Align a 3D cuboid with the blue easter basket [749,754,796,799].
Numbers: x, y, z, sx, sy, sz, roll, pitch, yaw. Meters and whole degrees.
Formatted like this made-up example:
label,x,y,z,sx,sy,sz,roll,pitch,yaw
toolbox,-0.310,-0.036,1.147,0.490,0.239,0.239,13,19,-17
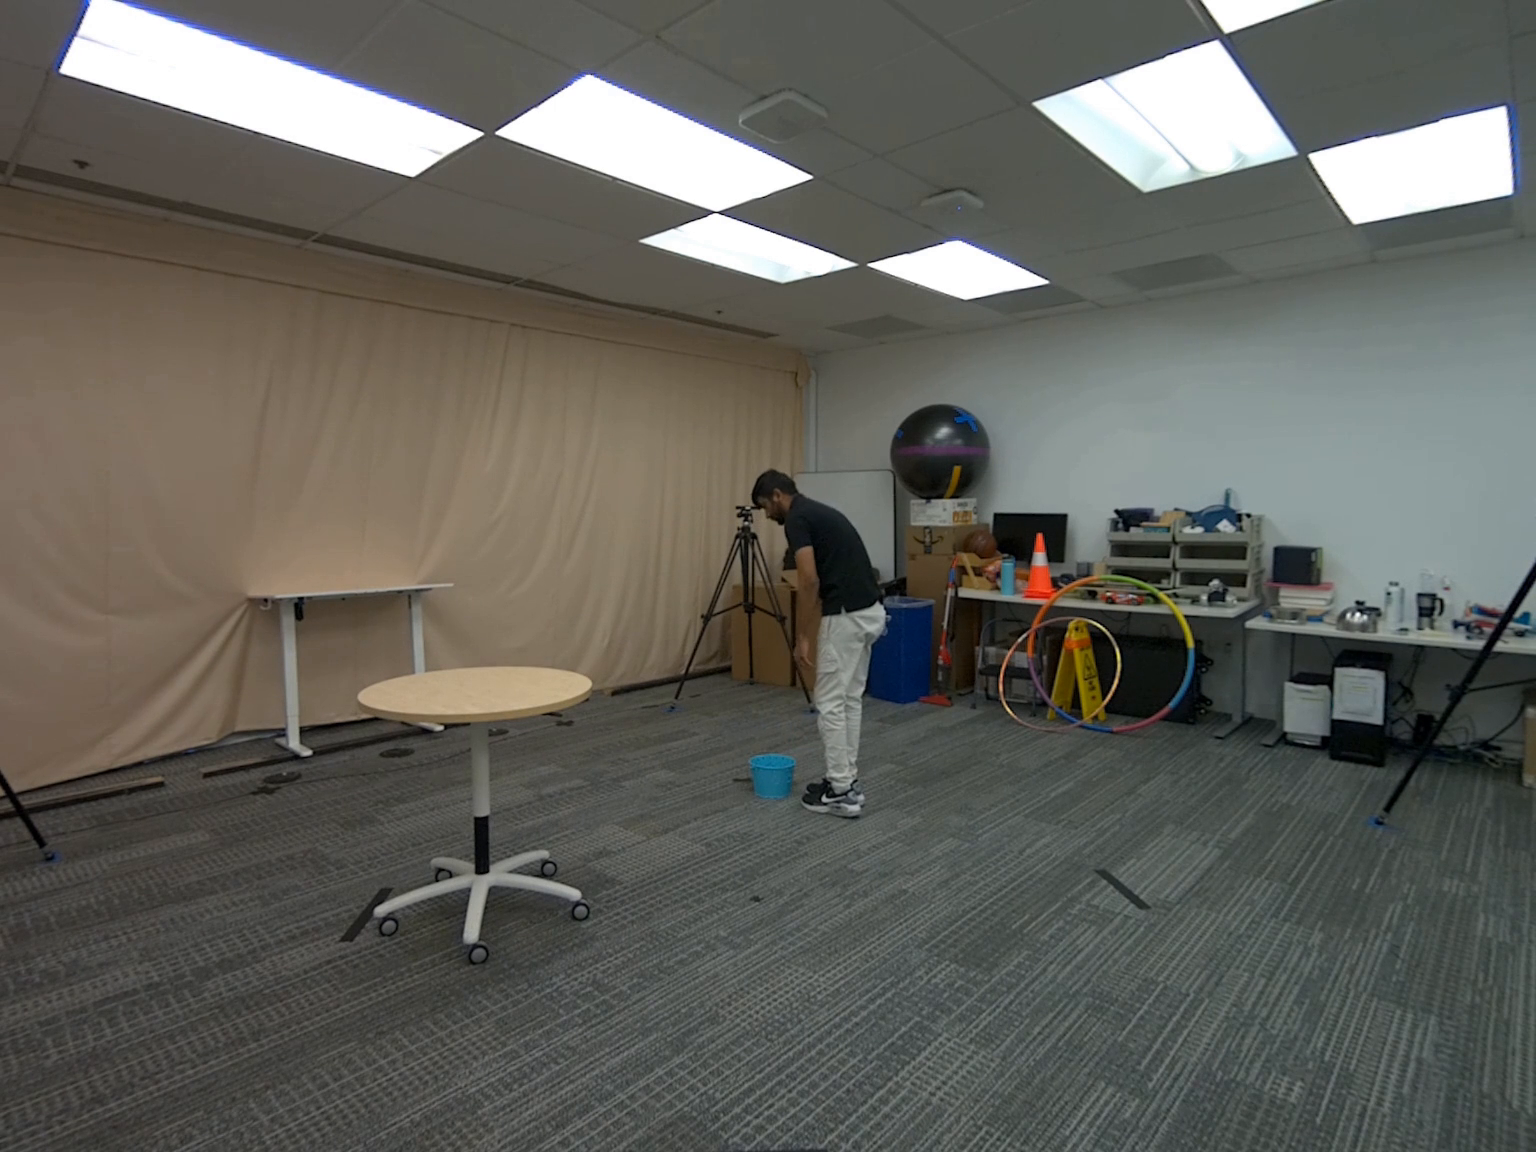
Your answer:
label,x,y,z,sx,sy,sz,roll,pitch,yaw
blue easter basket,0.024,0.974,4.114,0.243,0.155,0.244,0,5,-2
